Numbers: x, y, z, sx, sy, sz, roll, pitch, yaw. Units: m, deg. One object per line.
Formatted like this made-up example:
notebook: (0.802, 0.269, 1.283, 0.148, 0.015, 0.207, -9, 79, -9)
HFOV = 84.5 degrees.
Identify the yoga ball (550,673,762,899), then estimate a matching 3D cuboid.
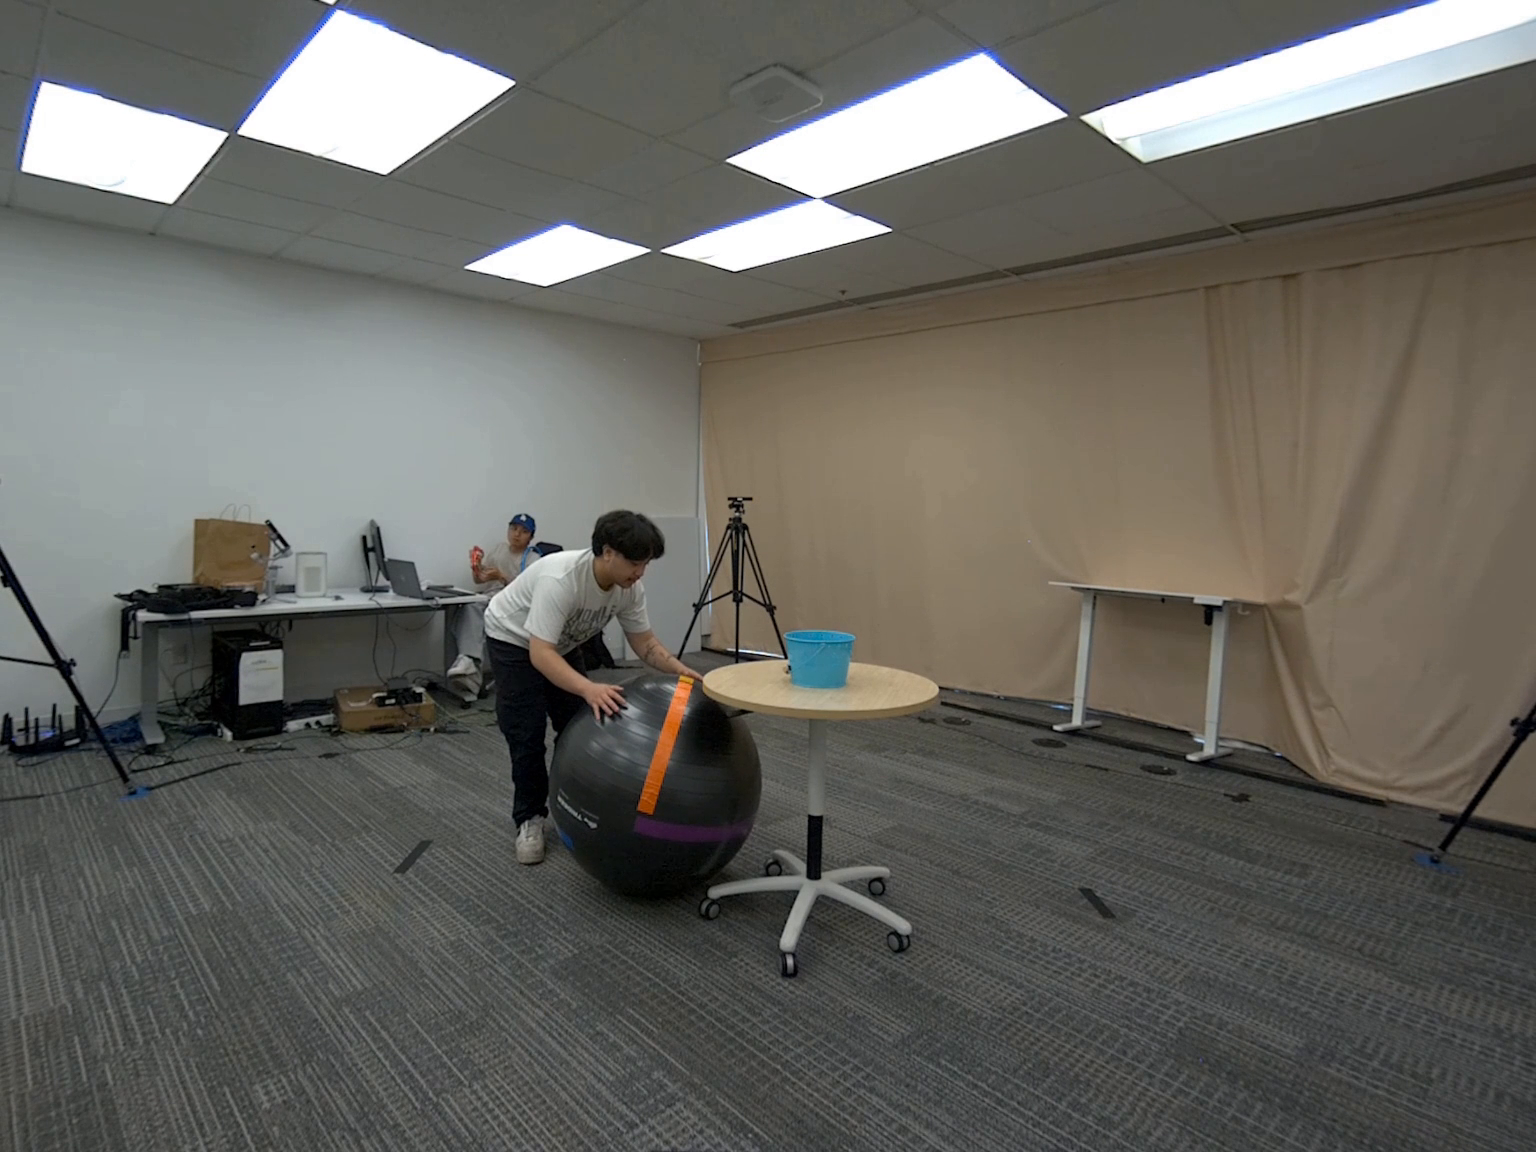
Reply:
yoga ball: (-0.406, 0.745, 3.012, 0.757, 0.756, 0.760, 1, 4, -1)
